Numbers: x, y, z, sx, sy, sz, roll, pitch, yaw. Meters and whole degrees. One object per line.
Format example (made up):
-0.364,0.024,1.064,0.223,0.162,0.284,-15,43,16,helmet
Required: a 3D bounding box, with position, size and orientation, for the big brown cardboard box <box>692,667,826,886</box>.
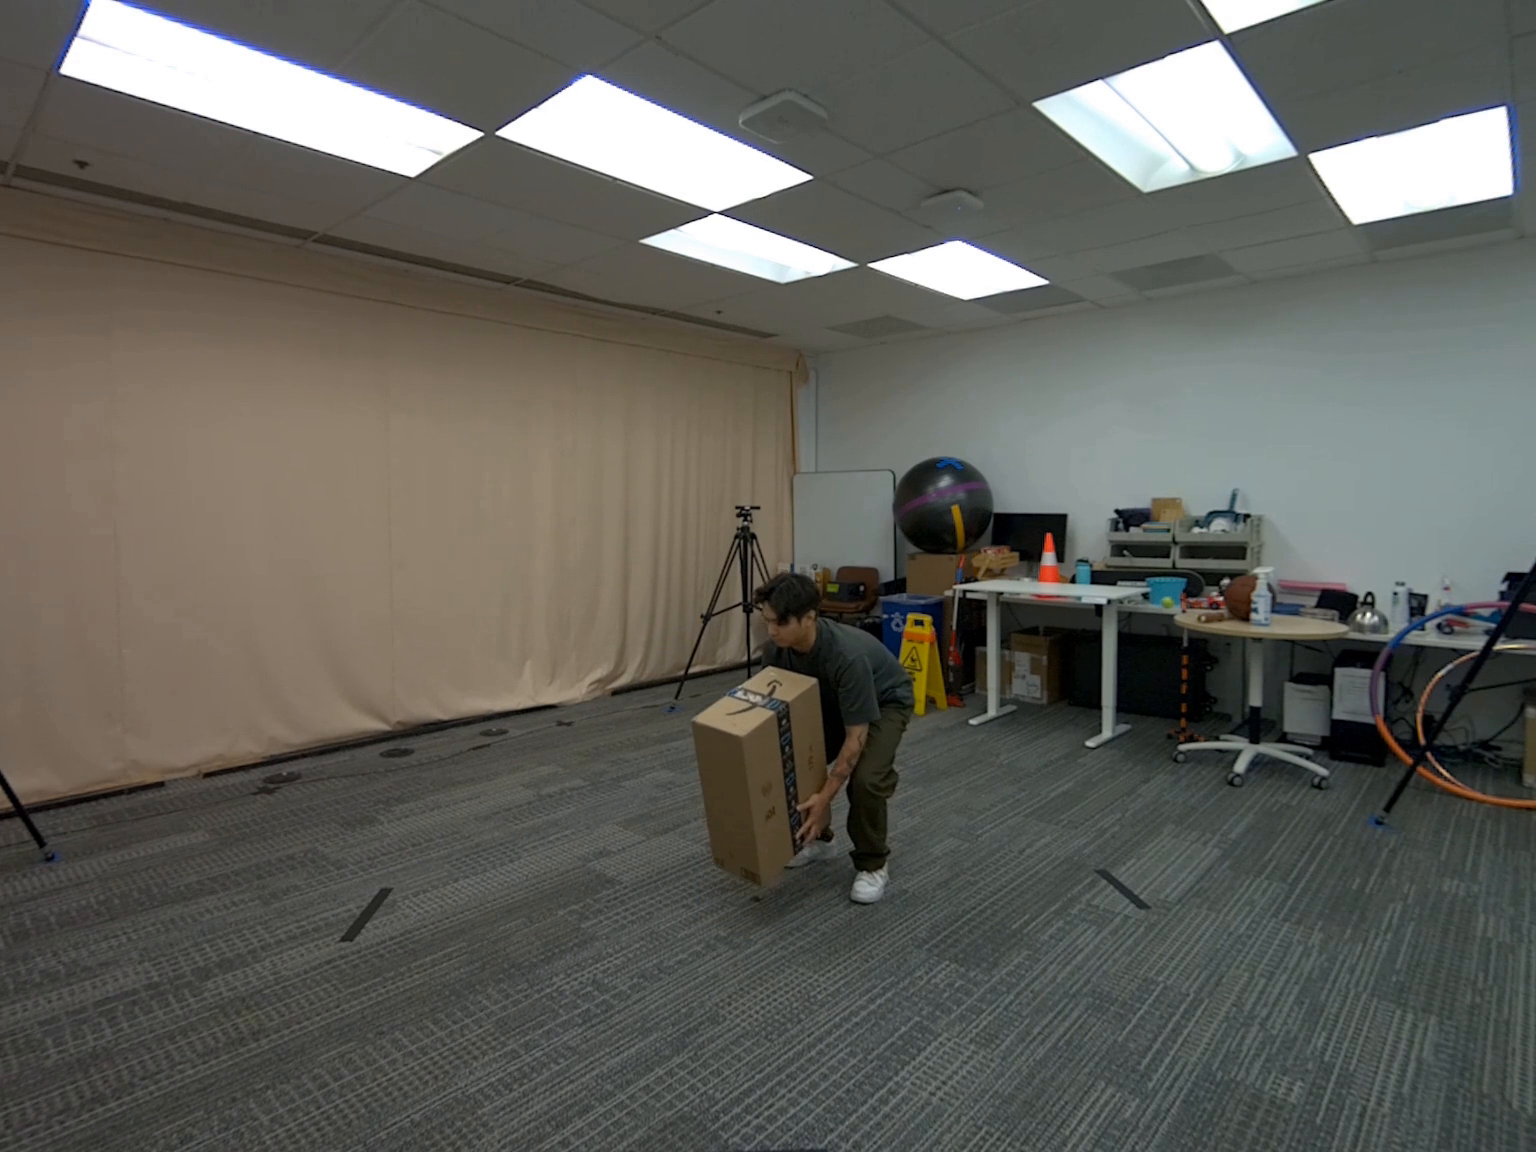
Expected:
-0.011,0.666,2.861,0.241,0.581,0.409,7,23,39,big brown cardboard box
